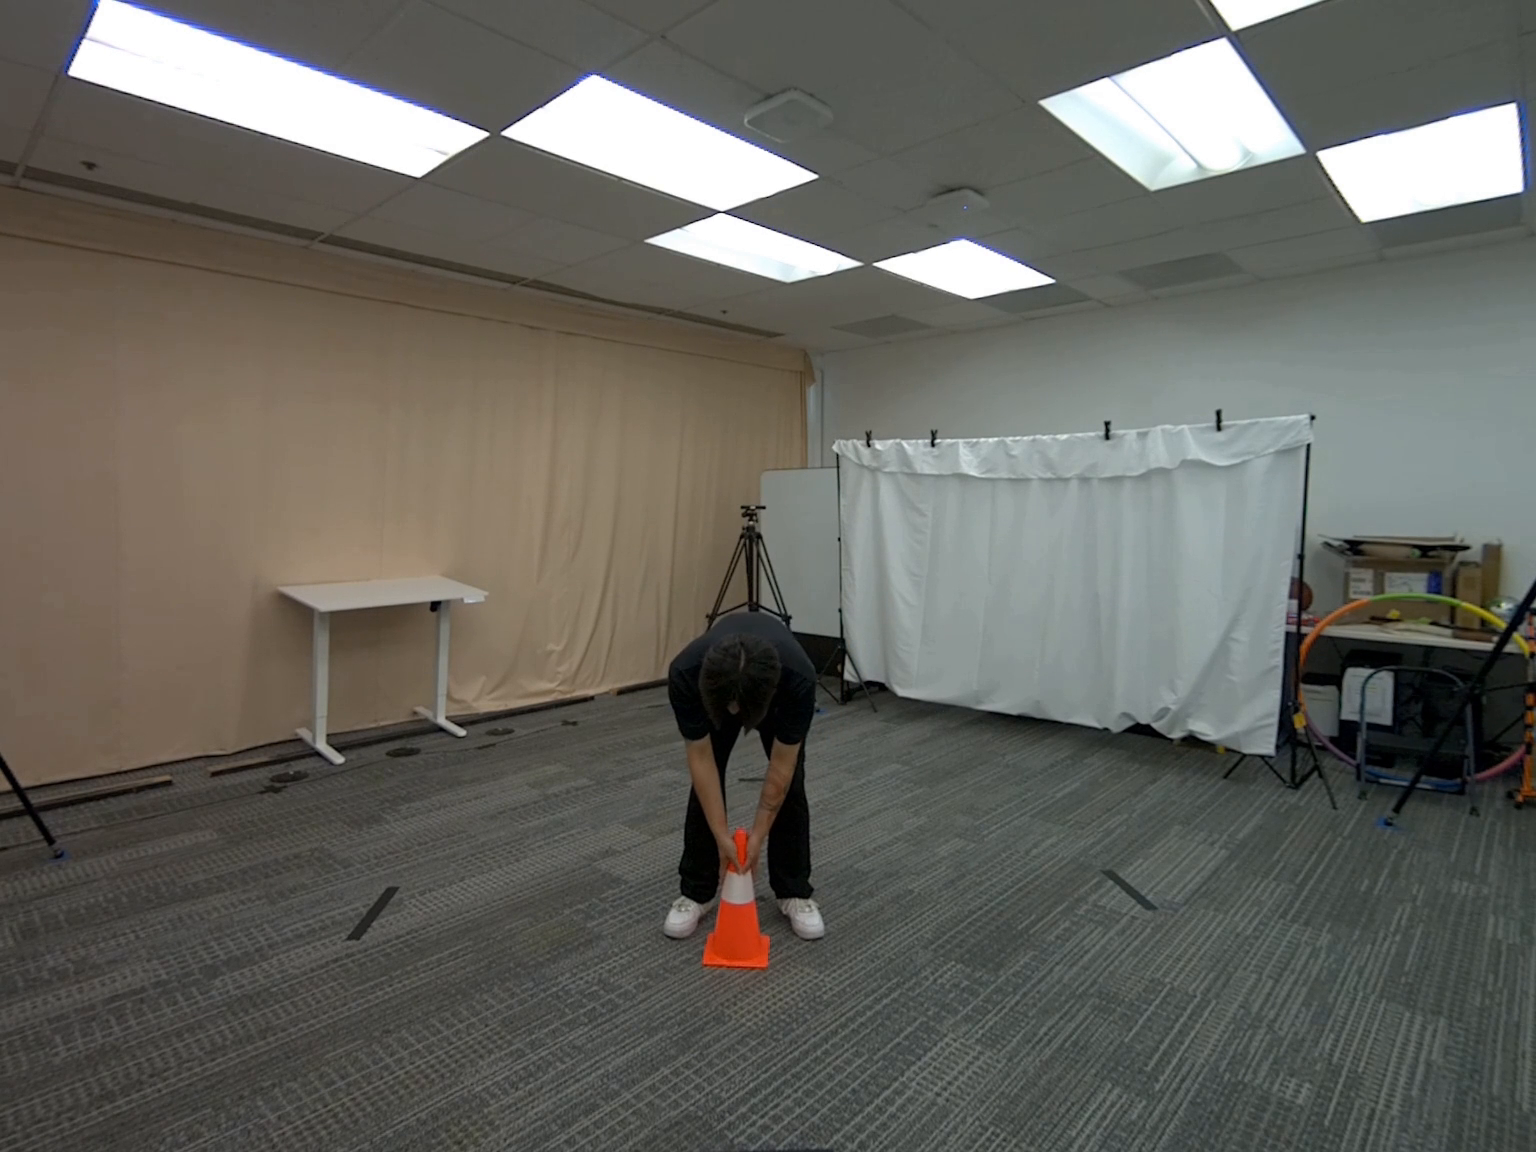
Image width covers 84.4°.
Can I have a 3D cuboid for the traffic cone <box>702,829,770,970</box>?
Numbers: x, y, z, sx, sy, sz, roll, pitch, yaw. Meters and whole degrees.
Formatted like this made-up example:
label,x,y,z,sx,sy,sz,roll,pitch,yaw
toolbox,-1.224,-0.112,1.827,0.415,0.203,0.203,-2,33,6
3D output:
label,x,y,z,sx,sy,sz,roll,pitch,yaw
traffic cone,-0.095,0.978,2.624,0.206,0.383,0.202,1,0,4
